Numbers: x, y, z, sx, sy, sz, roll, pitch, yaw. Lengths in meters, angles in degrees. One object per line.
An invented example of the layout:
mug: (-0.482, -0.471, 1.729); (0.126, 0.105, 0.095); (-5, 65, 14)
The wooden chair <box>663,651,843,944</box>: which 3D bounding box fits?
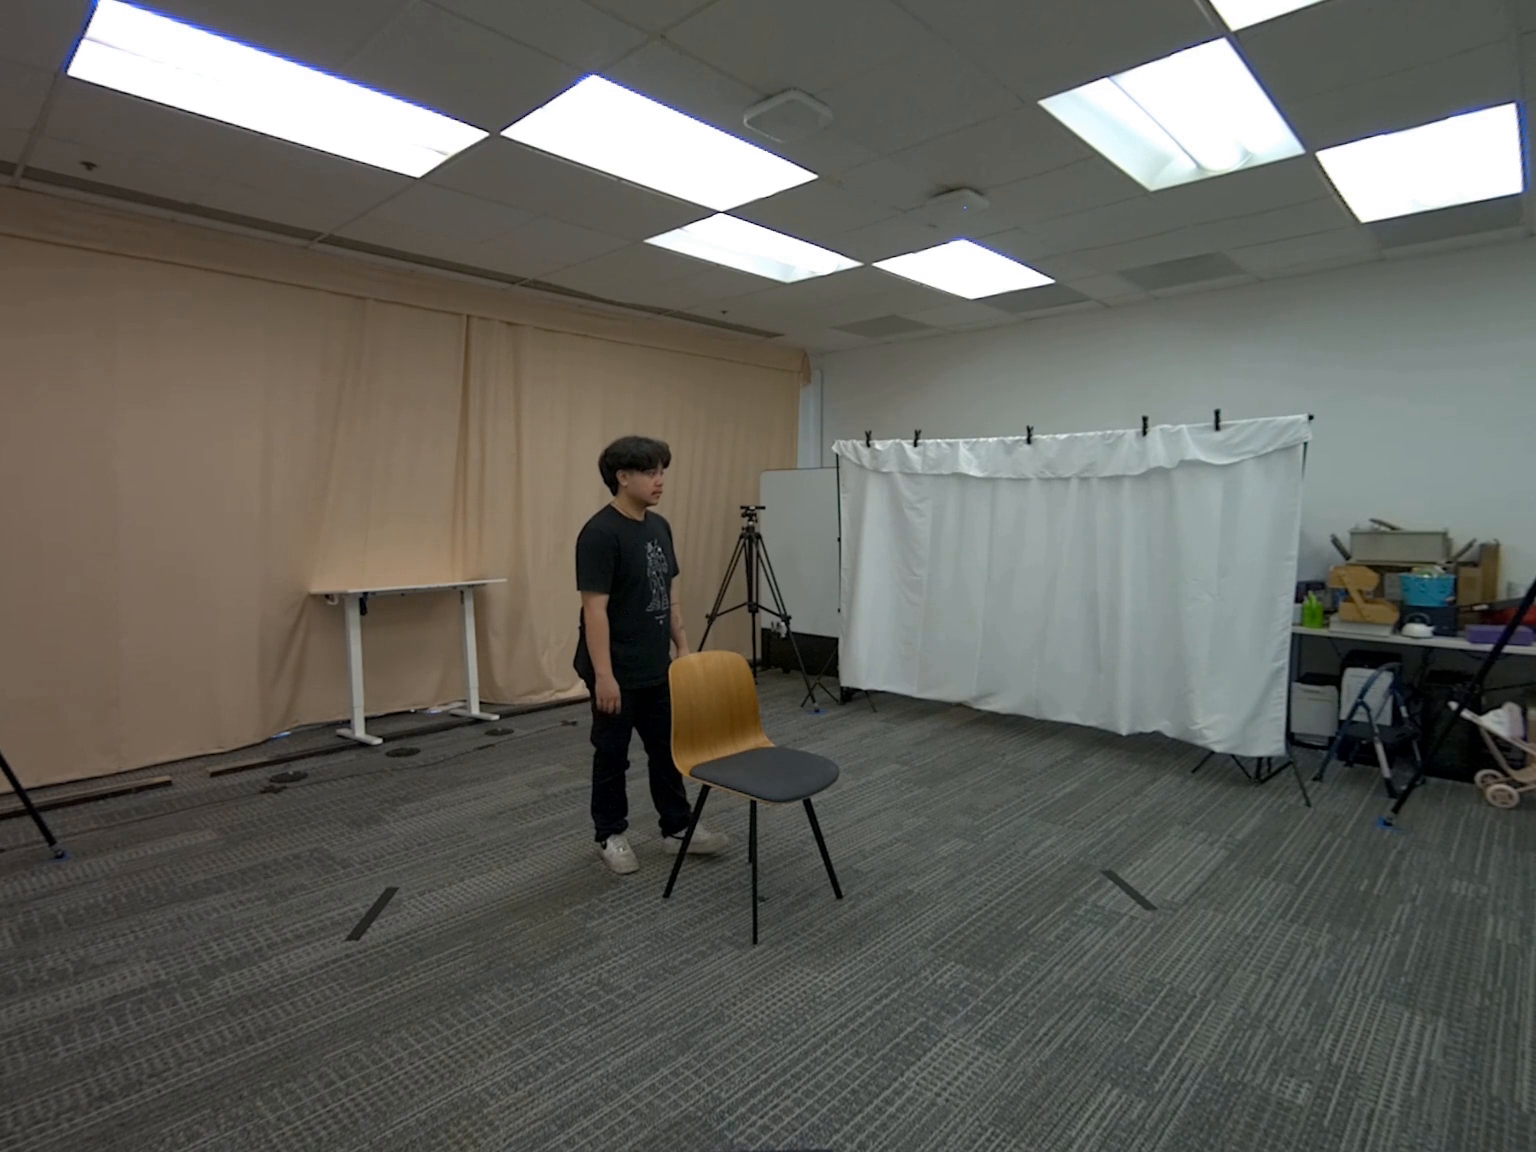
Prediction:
wooden chair: (-0.043, 0.722, 2.951); (0.539, 0.877, 0.463); (-3, 0, 44)
